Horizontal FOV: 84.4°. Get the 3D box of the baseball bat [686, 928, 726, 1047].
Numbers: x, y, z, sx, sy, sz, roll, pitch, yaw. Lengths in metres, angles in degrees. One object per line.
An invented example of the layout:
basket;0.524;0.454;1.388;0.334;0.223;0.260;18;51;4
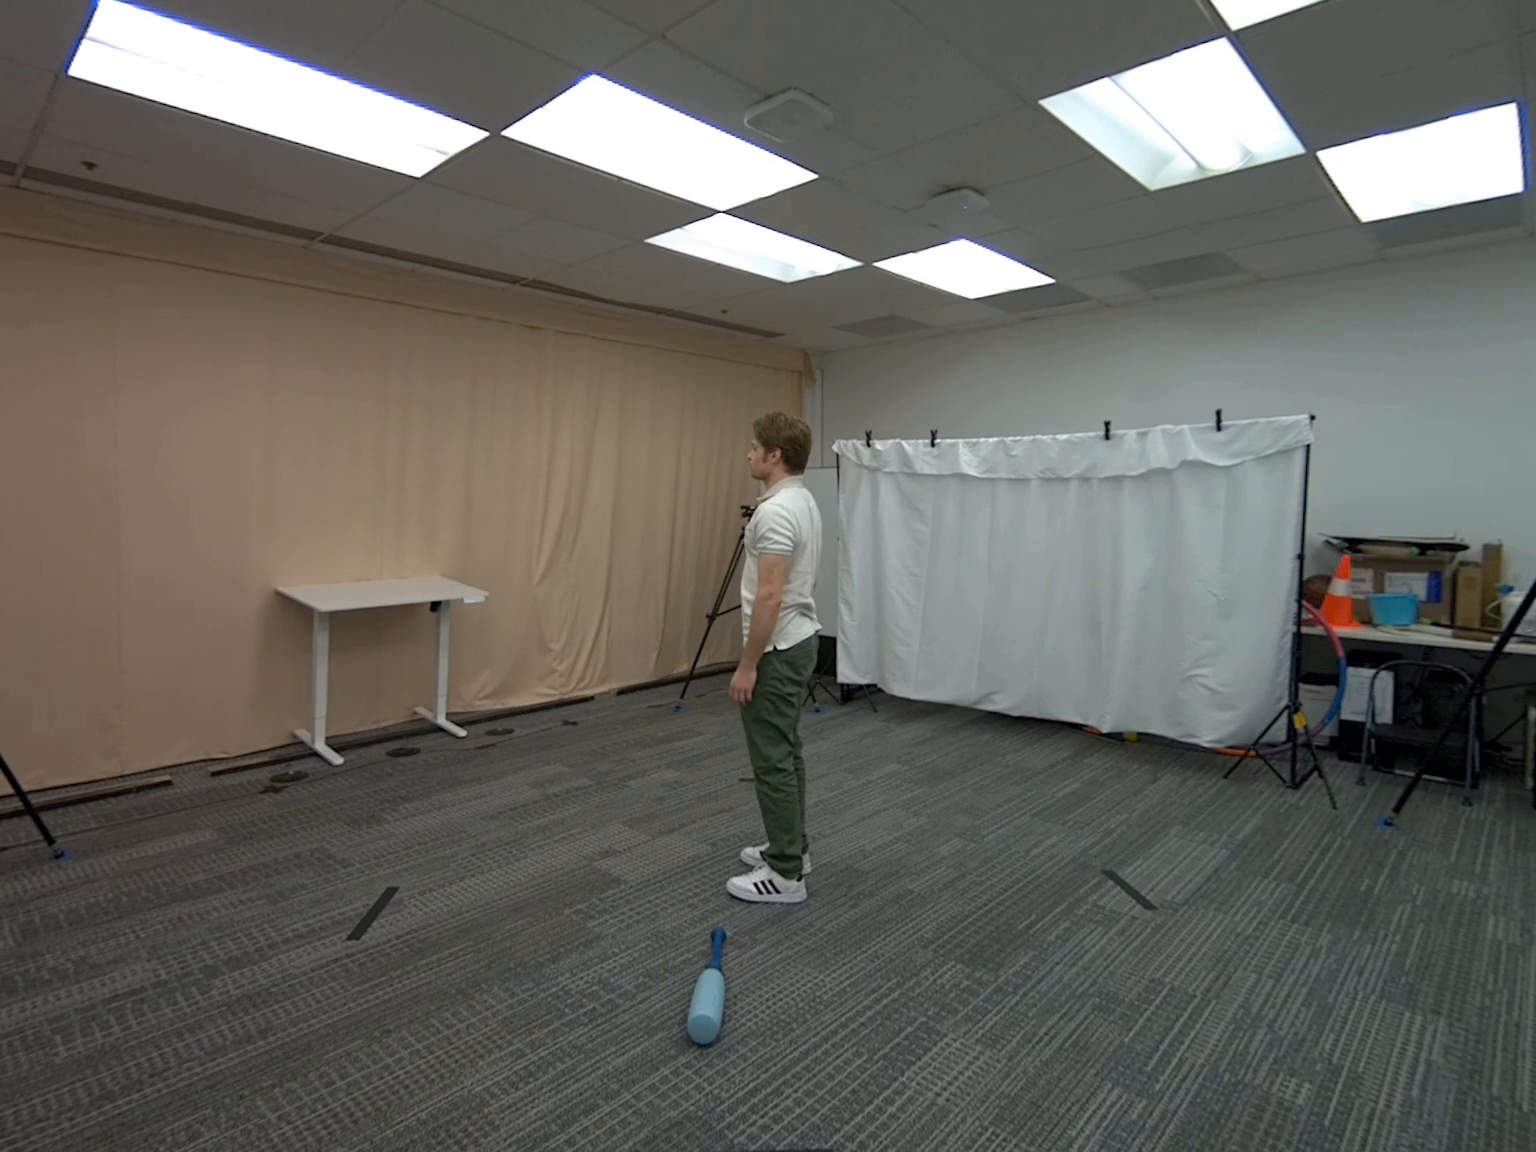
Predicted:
baseball bat;-0.157;1.157;2.421;0.089;0.089;0.541;0;1;1
